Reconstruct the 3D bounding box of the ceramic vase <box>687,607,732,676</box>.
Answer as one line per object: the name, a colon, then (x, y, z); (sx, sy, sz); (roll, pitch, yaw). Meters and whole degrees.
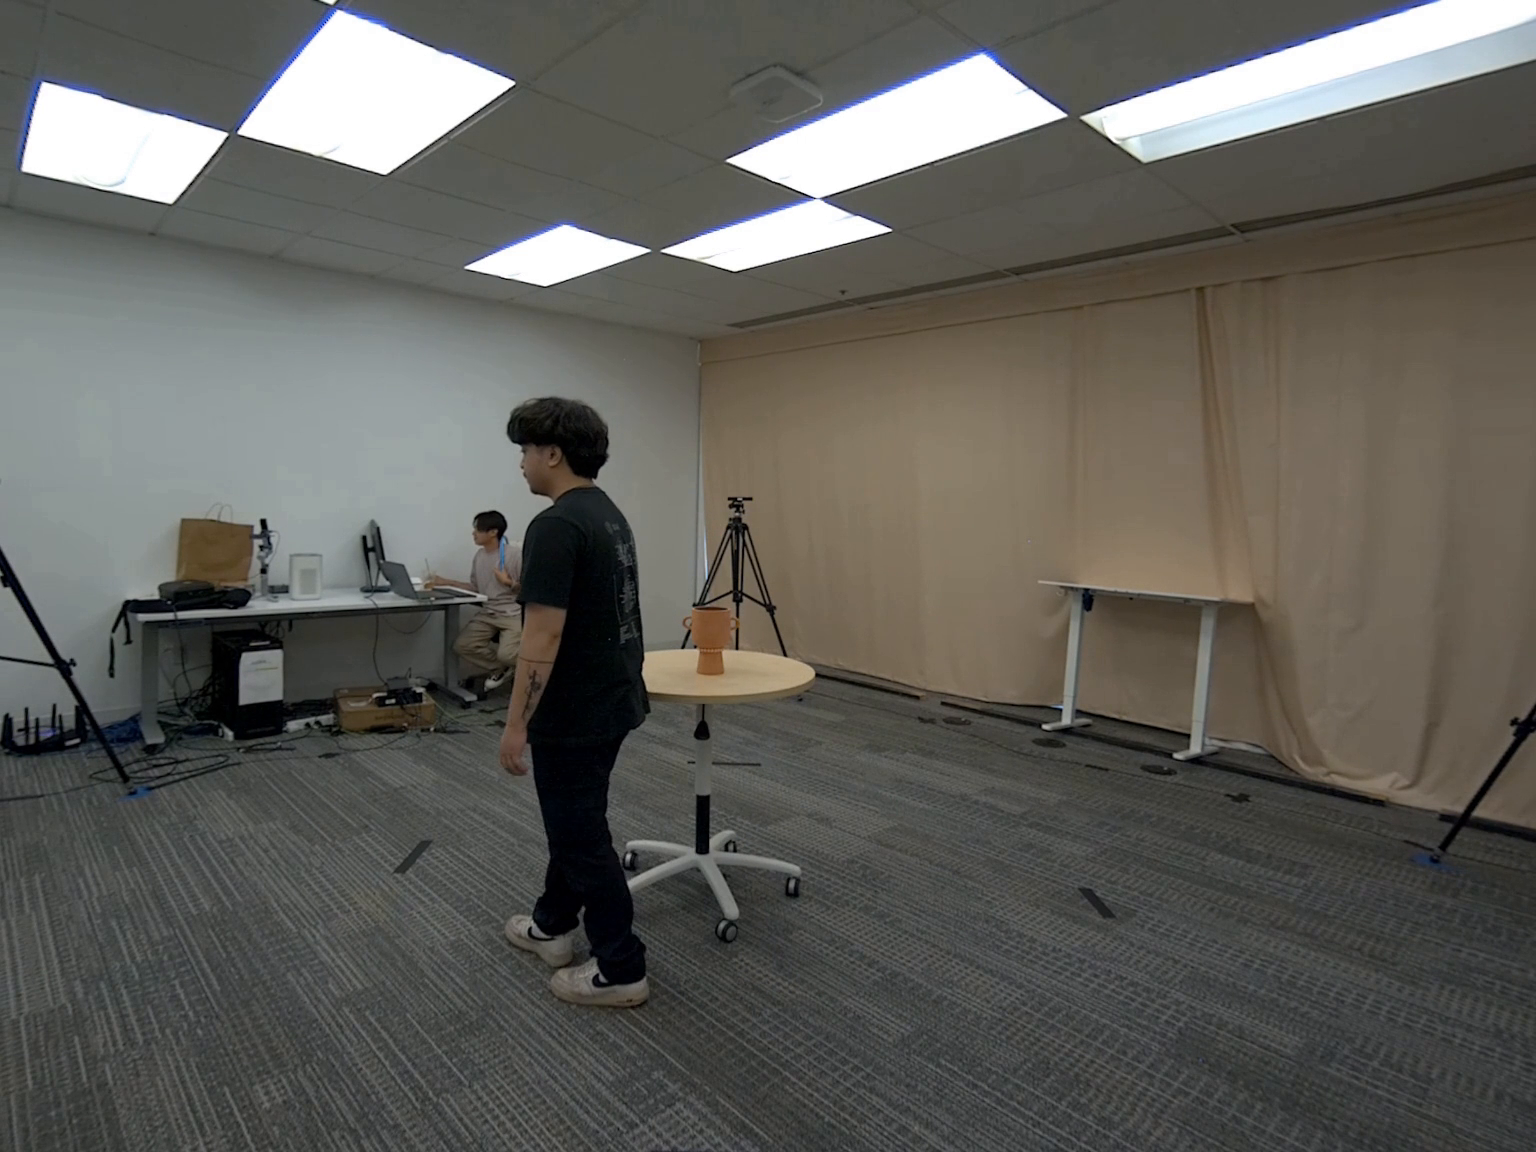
ceramic vase: (-0.204, 0.223, 2.884); (0.163, 0.219, 0.131); (5, 6, 42)
